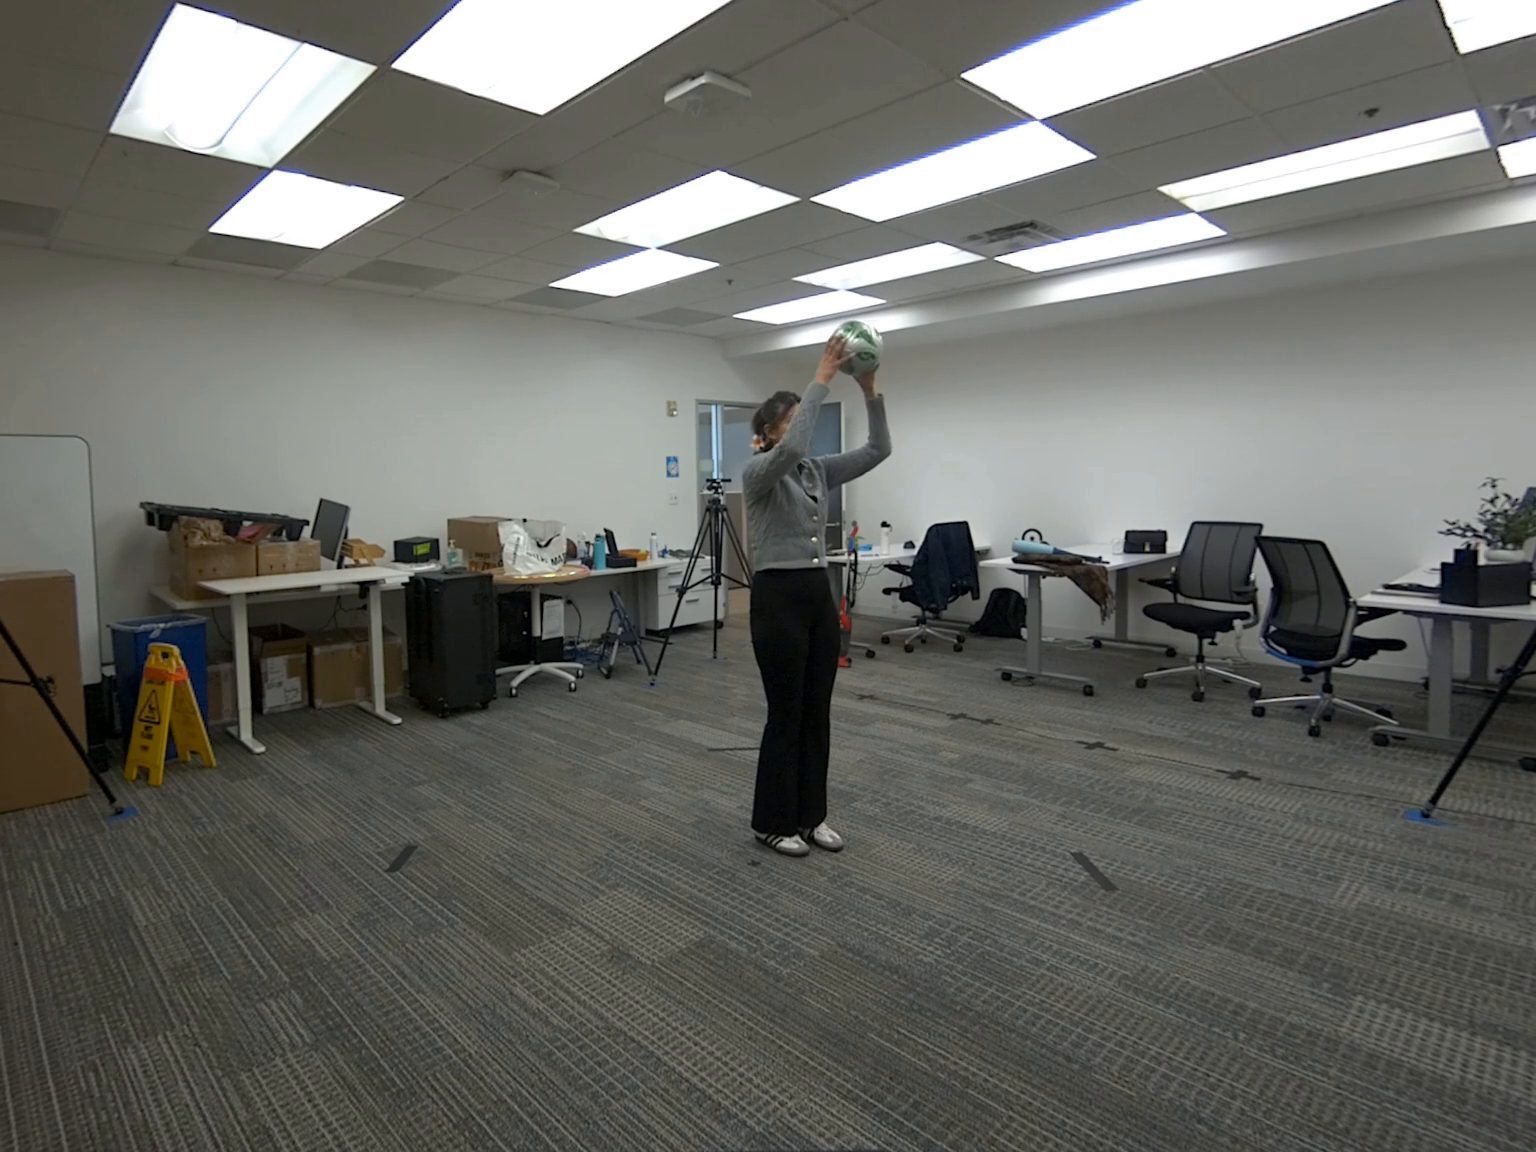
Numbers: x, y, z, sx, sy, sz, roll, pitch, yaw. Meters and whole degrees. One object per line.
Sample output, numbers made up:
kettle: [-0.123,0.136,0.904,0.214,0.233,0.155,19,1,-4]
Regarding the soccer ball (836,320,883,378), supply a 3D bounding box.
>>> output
soccer ball: [0.312,-0.769,2.946,0.187,0.187,0.188,-1,5,-2]
